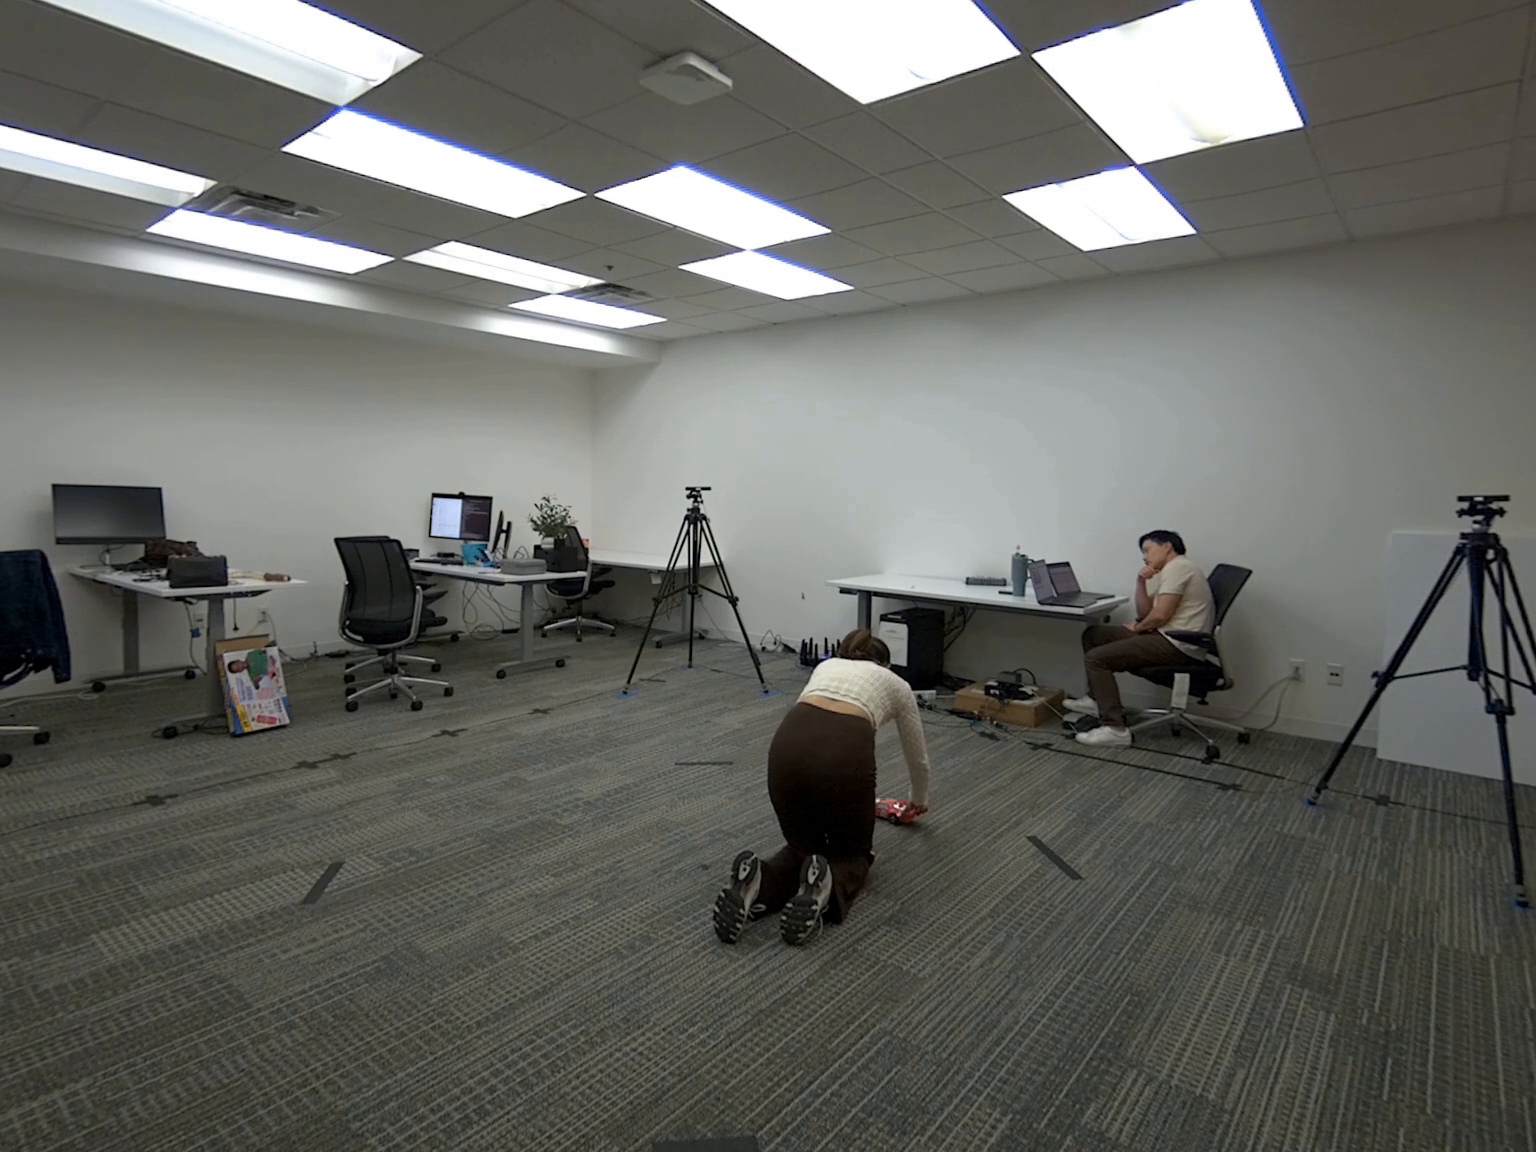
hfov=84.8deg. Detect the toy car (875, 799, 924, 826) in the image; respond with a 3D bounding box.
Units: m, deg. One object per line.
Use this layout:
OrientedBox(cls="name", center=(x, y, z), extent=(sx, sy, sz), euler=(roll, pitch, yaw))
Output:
OrientedBox(cls="toy car", center=(0.511, 0.993, 3.629), extent=(0.261, 0.083, 0.126), euler=(-9, -2, 40))
